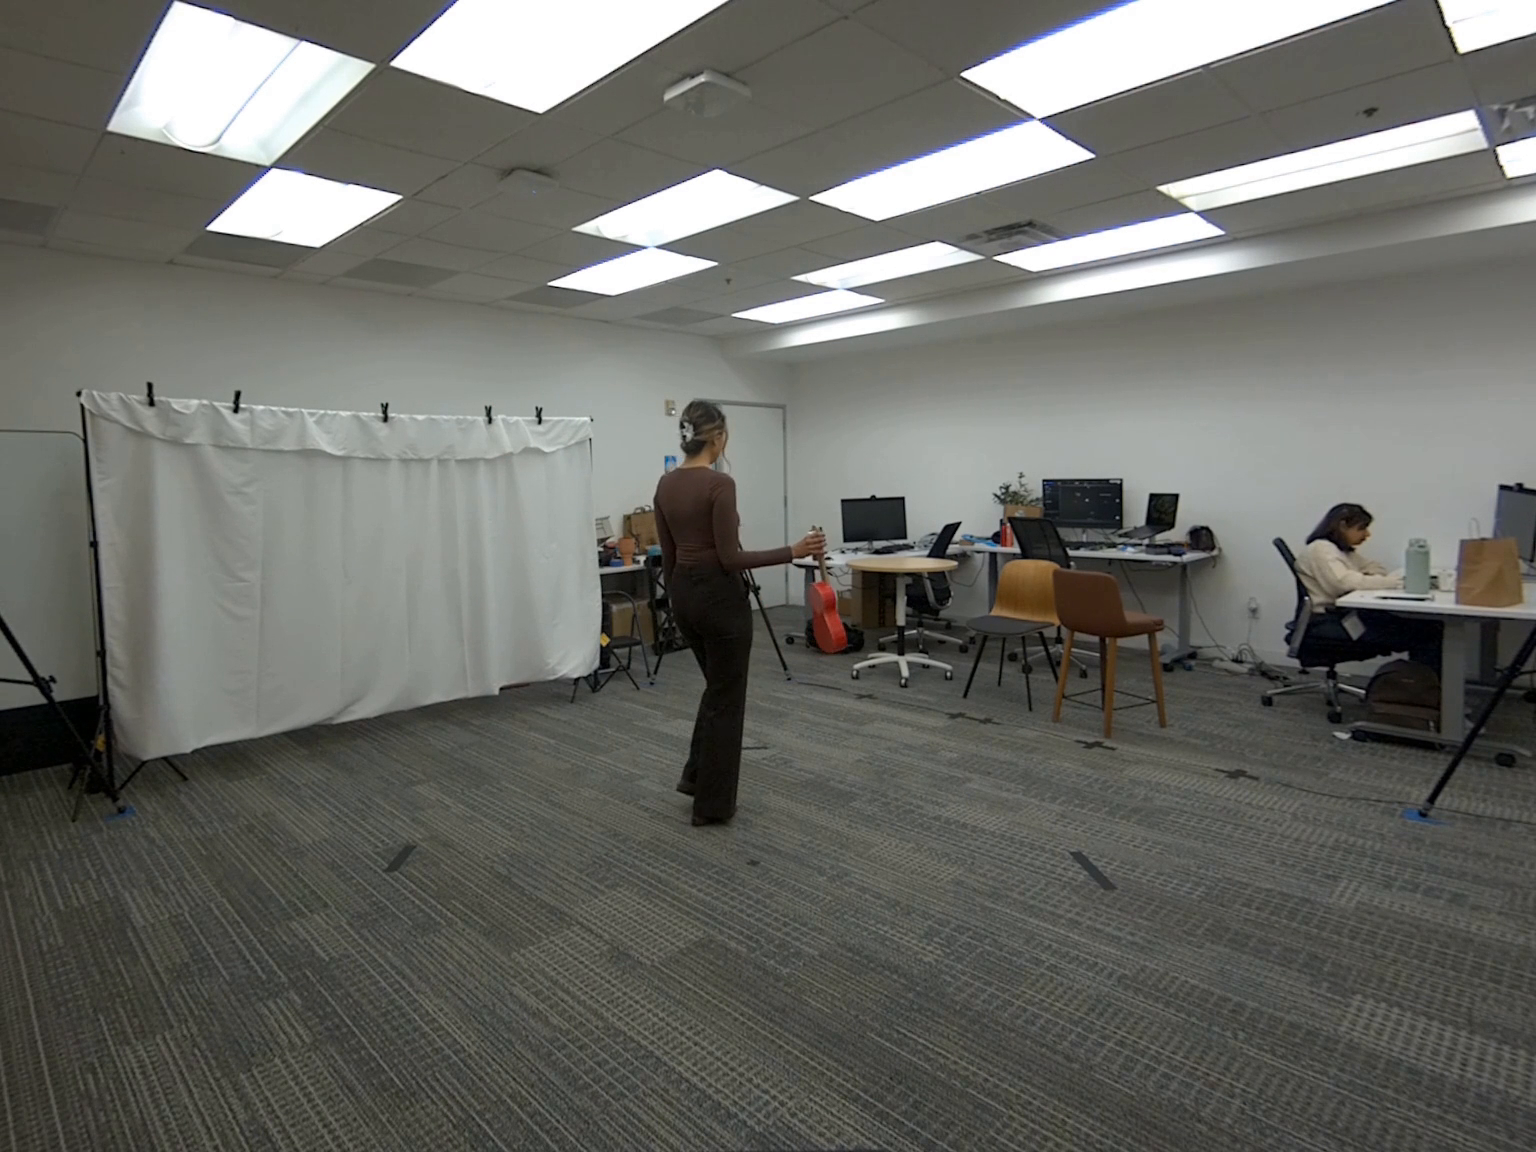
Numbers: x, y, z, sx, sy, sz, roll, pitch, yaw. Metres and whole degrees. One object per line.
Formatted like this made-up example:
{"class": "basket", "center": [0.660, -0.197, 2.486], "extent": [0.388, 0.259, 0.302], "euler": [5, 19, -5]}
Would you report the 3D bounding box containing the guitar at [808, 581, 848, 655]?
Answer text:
{"class": "guitar", "center": [0.200, 0.055, 3.386], "extent": [0.070, 0.500, 0.194], "euler": [-11, -4, -16]}
